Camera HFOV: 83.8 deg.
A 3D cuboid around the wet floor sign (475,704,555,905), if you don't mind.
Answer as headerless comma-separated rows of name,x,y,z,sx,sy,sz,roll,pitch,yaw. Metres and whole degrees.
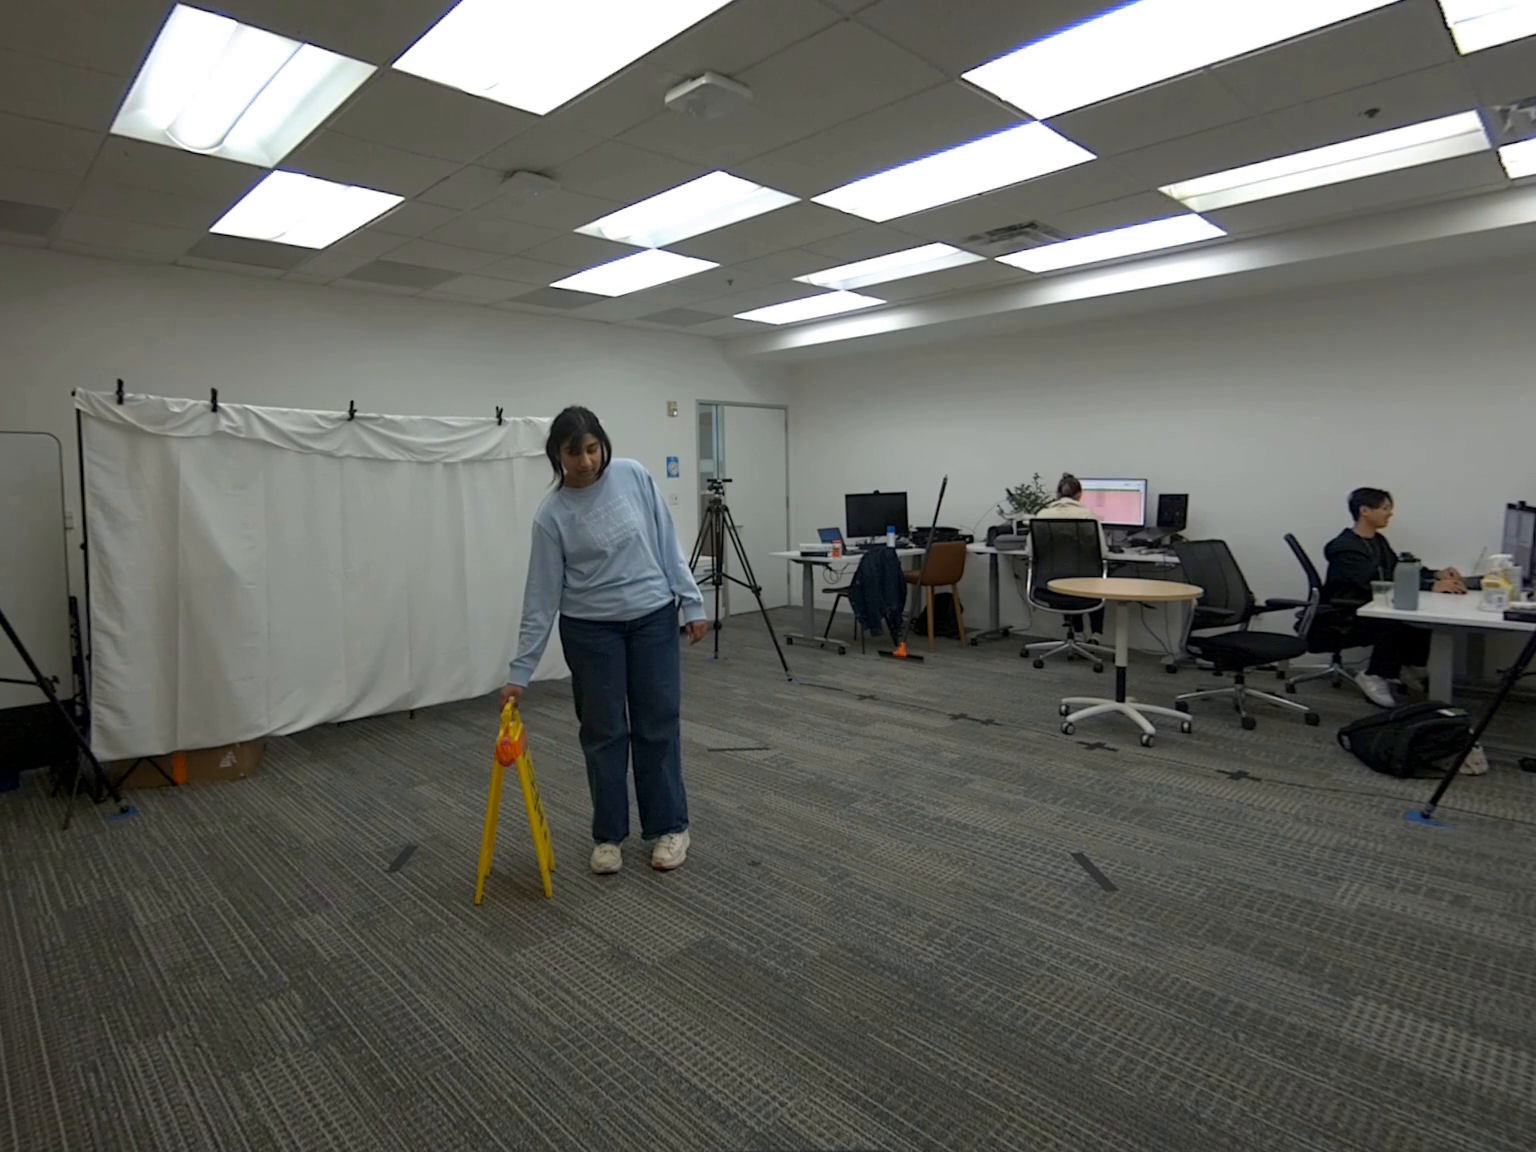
wet floor sign,-0.883,0.749,2.973,0.288,0.643,0.286,-1,5,-8
